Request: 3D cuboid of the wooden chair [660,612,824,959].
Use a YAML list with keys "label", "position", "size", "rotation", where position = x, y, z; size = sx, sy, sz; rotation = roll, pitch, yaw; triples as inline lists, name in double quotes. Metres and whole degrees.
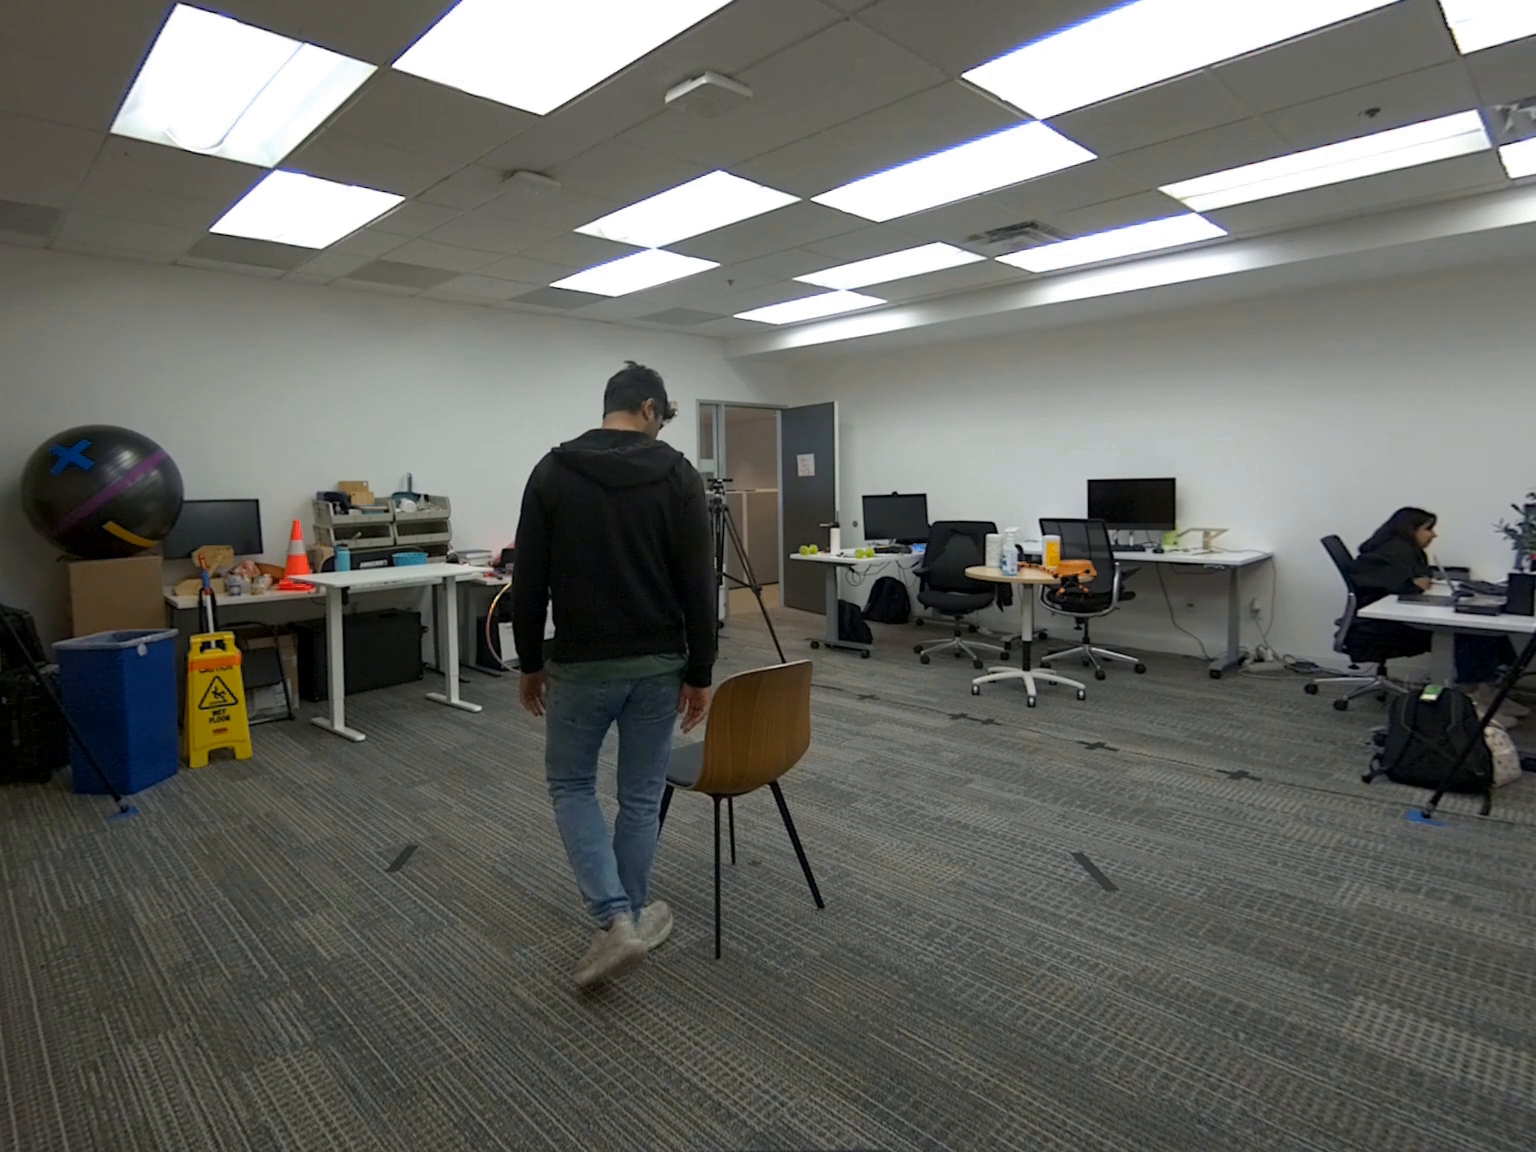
- label: "wooden chair"
  position: [-0.139, 0.656, 2.779]
  size: [0.466, 0.871, 0.541]
  rotation: [-5, 11, -40]
